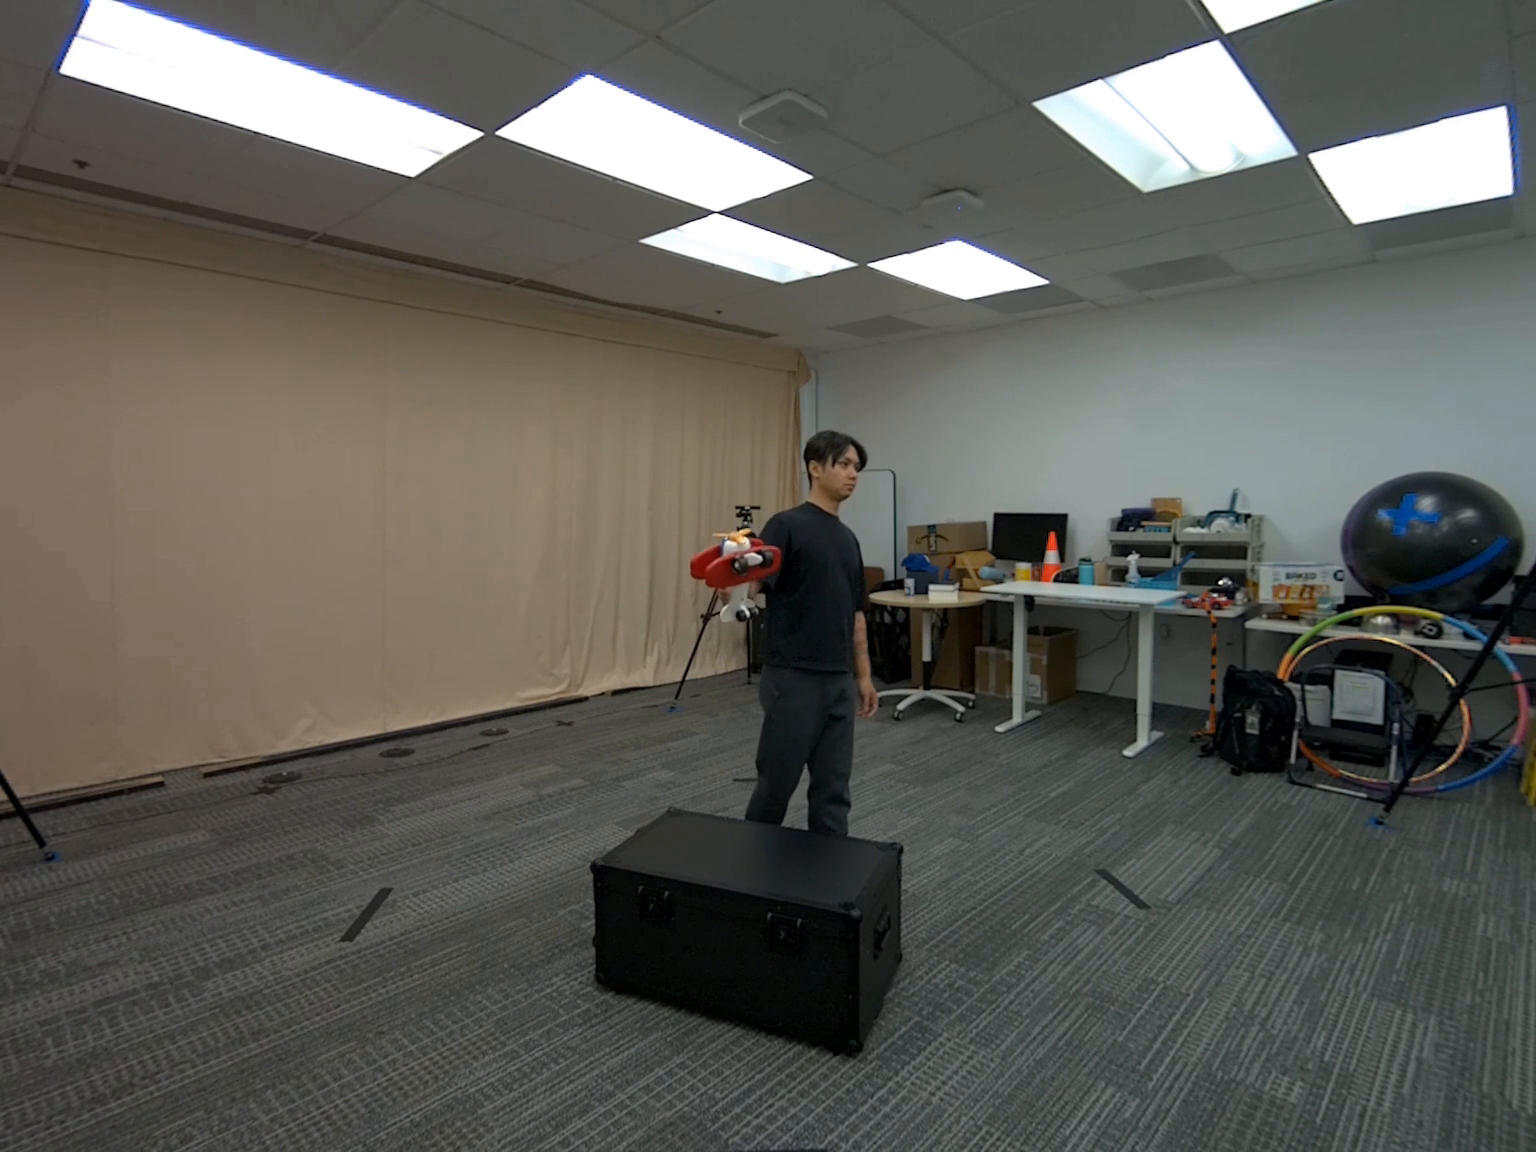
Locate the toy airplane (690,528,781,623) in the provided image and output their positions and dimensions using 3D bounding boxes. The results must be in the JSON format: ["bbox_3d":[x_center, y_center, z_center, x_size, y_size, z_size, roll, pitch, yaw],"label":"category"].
[{"bbox_3d":[-0.092,0.008,2.389,0.242,0.259,0.162,18,20,-44],"label":"toy airplane"}]
